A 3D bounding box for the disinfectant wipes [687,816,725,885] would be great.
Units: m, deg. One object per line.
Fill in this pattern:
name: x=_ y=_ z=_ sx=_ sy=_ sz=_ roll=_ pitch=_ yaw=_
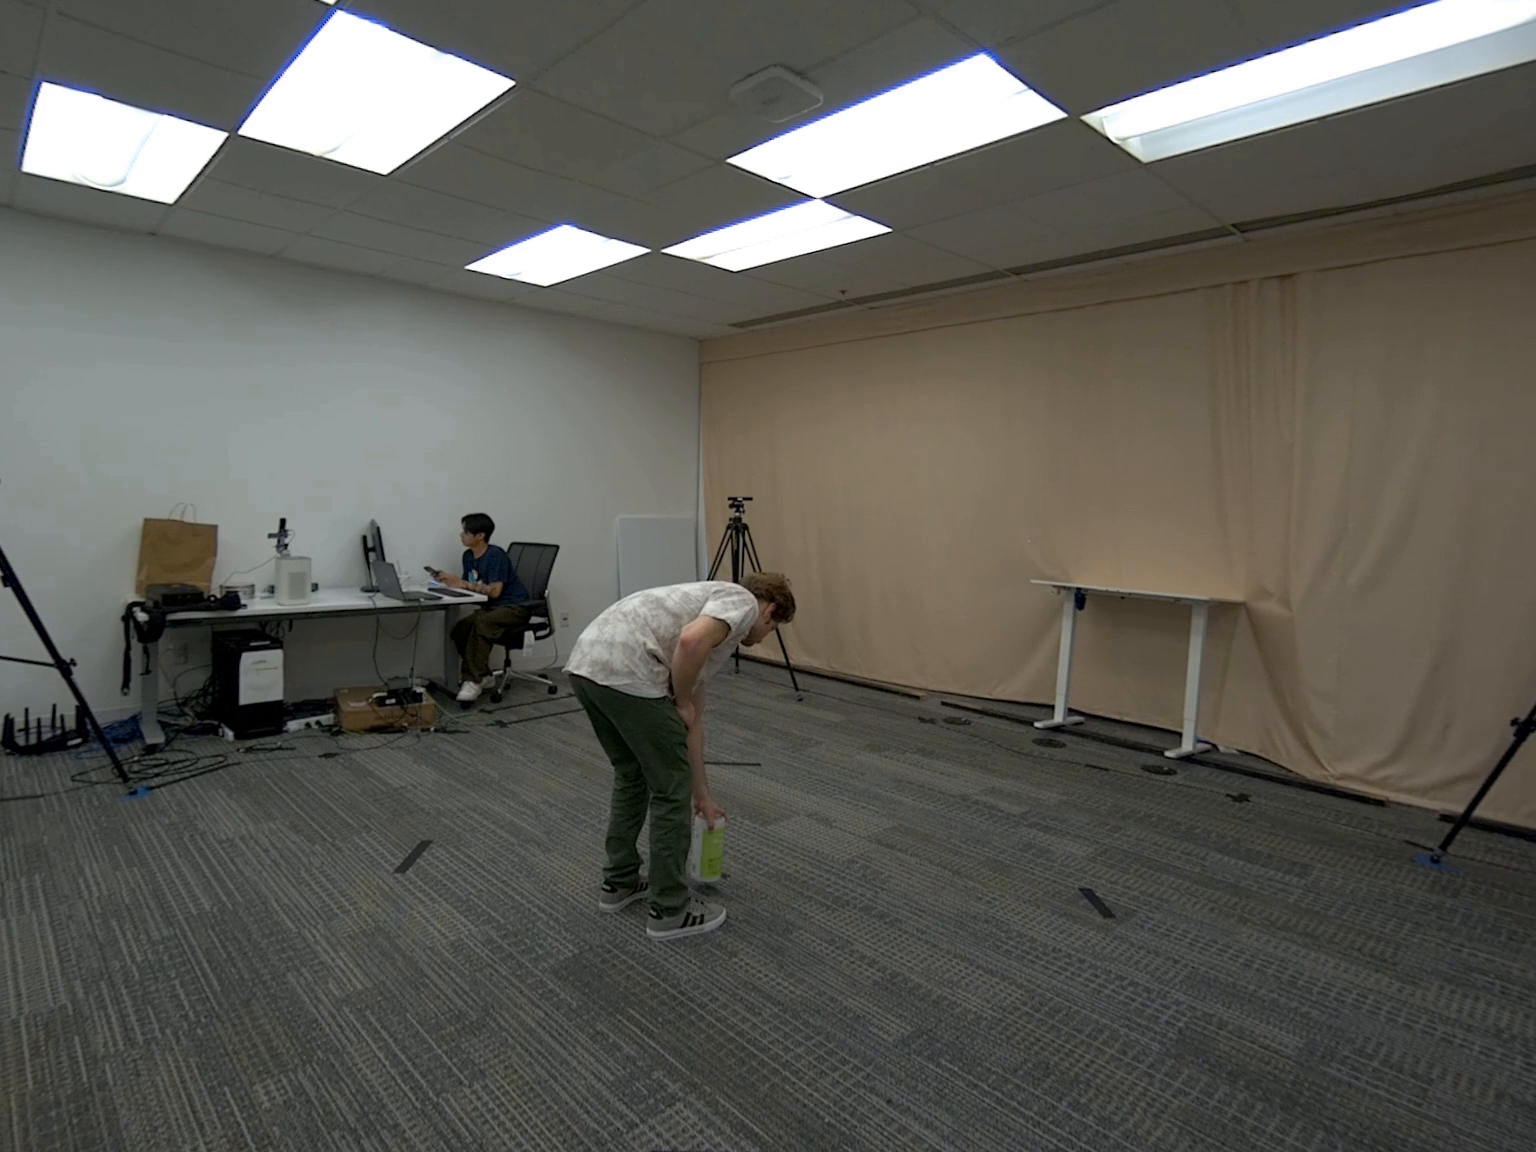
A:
disinfectant wipes: x=-0.219 y=0.974 z=2.997 sx=0.118 sy=0.218 sz=0.118 roll=4 pitch=-1 yaw=-1
